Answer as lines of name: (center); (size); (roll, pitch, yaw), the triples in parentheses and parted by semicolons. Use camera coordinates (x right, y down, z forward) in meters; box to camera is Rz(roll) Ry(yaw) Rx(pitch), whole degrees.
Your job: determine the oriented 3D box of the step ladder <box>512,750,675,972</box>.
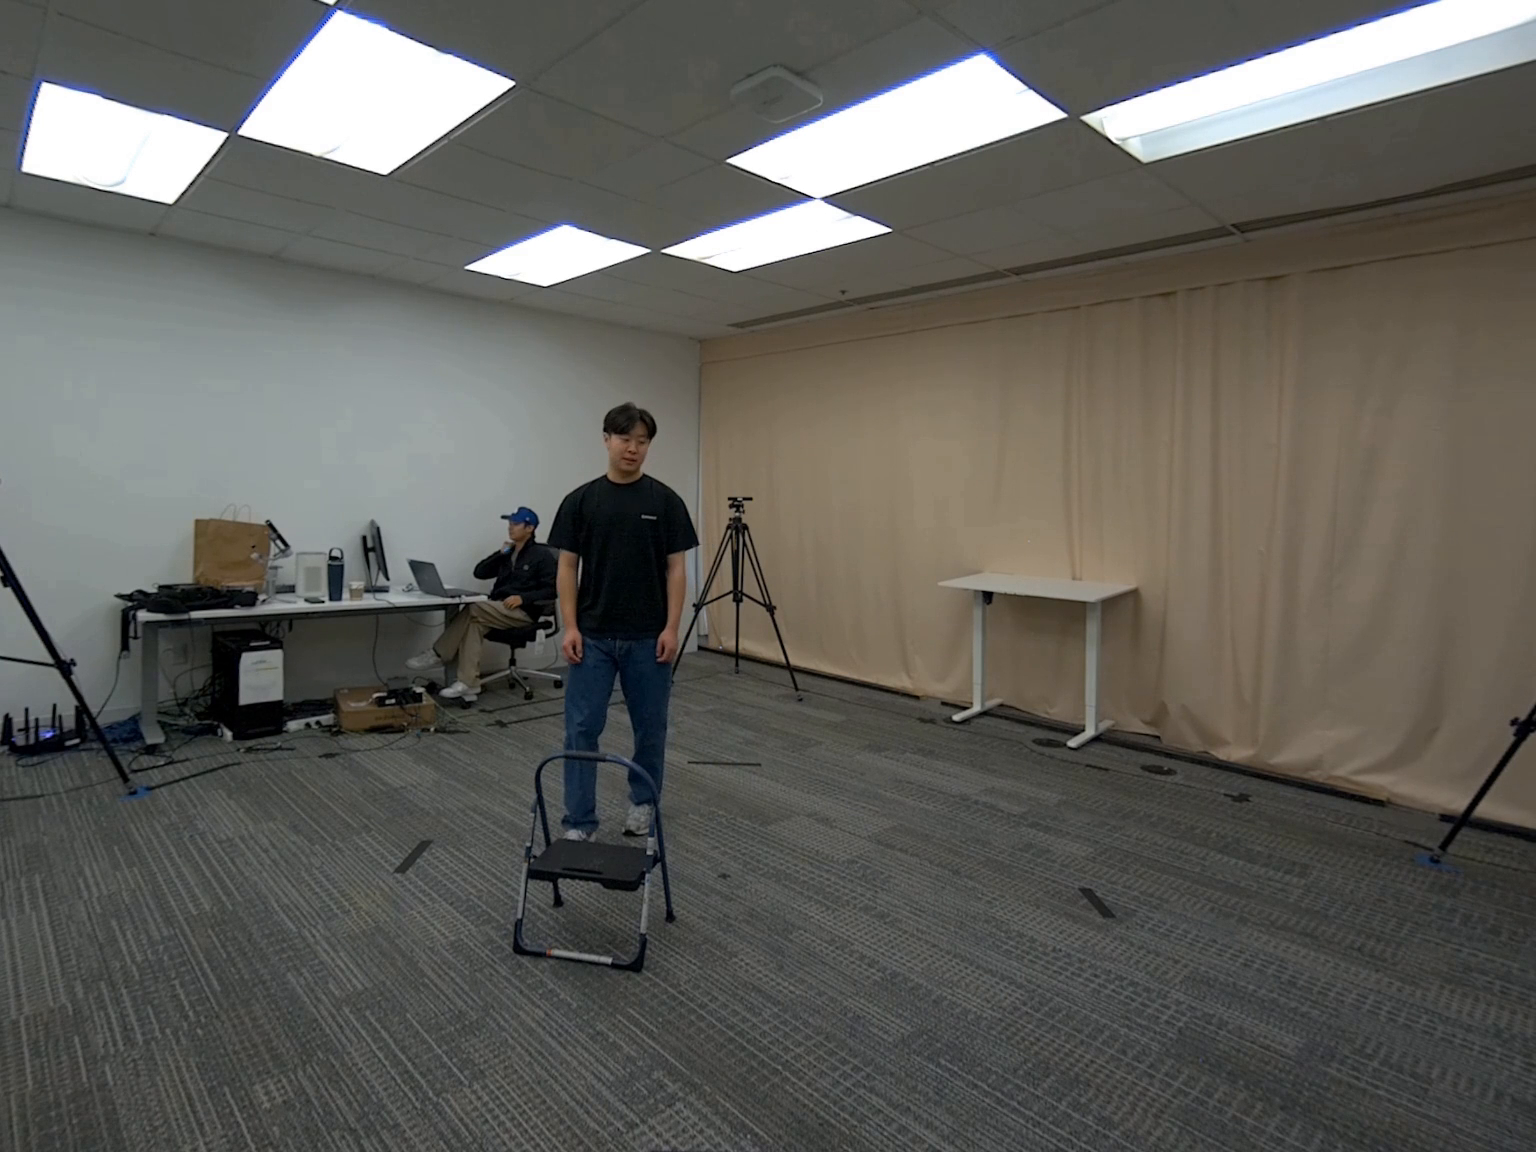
step ladder: (-0.539, 0.838, 2.651); (0.435, 0.605, 0.347); (2, 3, 11)
